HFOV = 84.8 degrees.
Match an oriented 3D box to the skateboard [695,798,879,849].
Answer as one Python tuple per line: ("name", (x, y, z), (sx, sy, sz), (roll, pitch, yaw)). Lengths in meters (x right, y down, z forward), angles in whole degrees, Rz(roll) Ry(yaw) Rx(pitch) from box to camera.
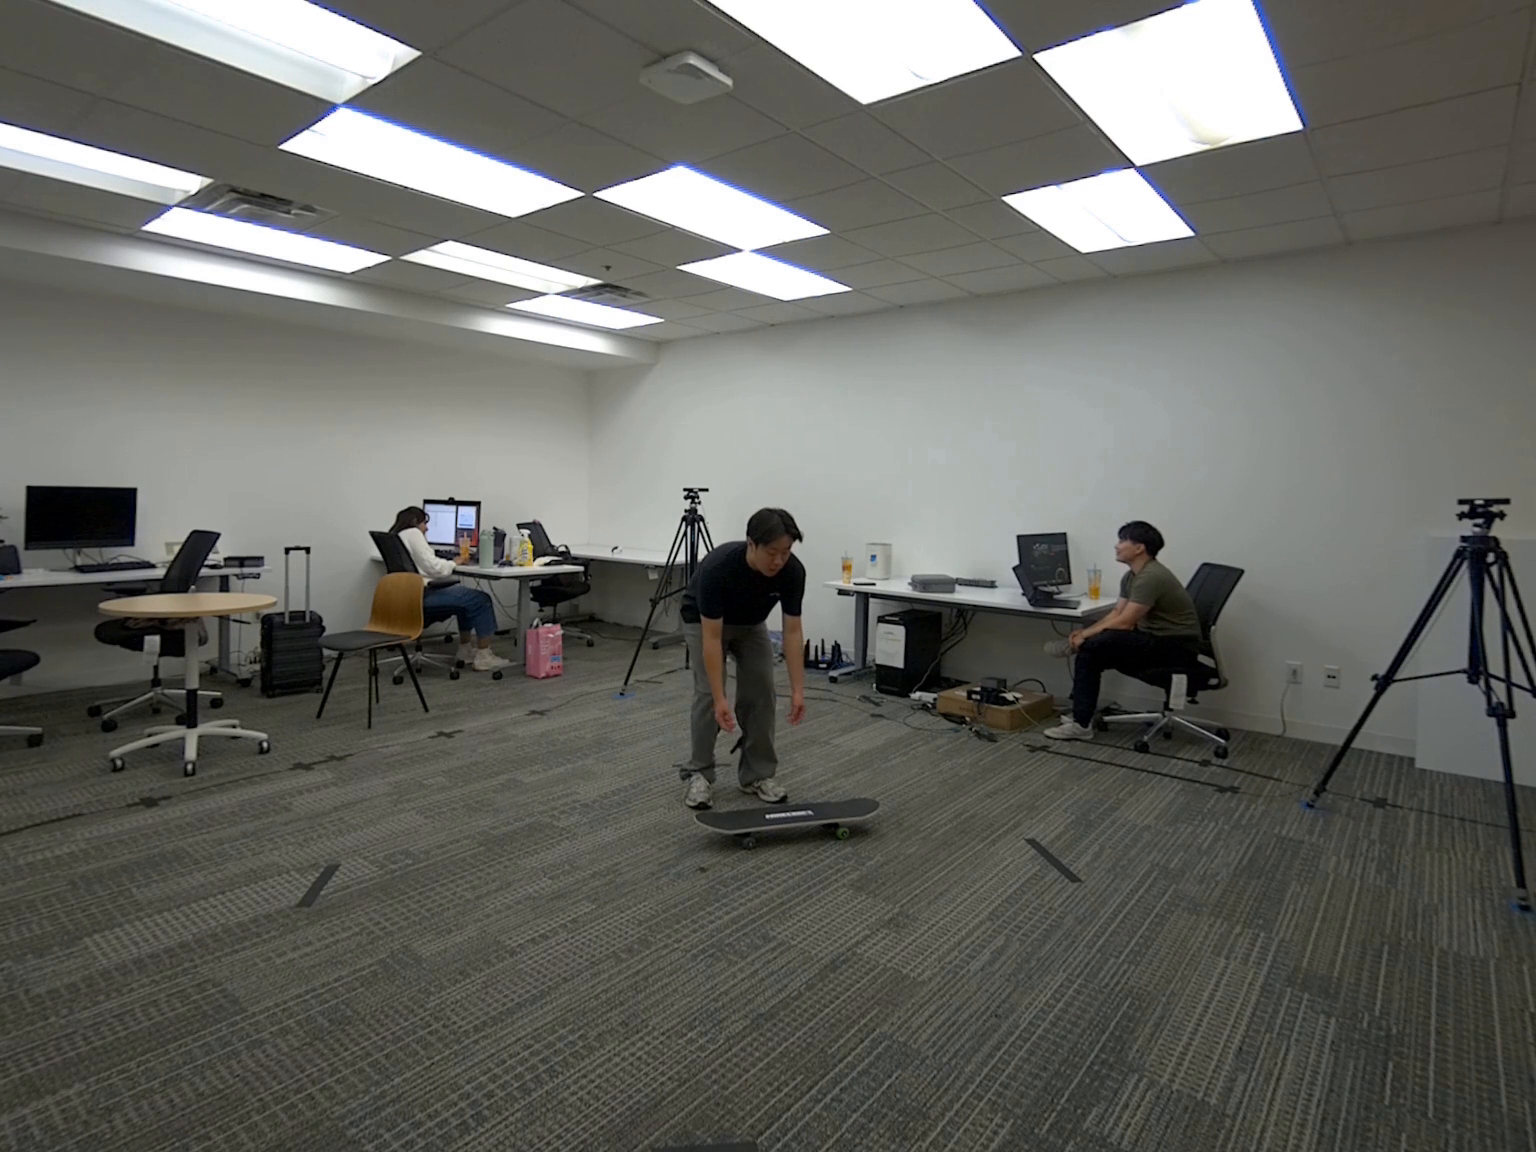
("skateboard", (0.075, 0.988, 3.428), (0.772, 0.110, 0.197), (-1, 5, -17))
